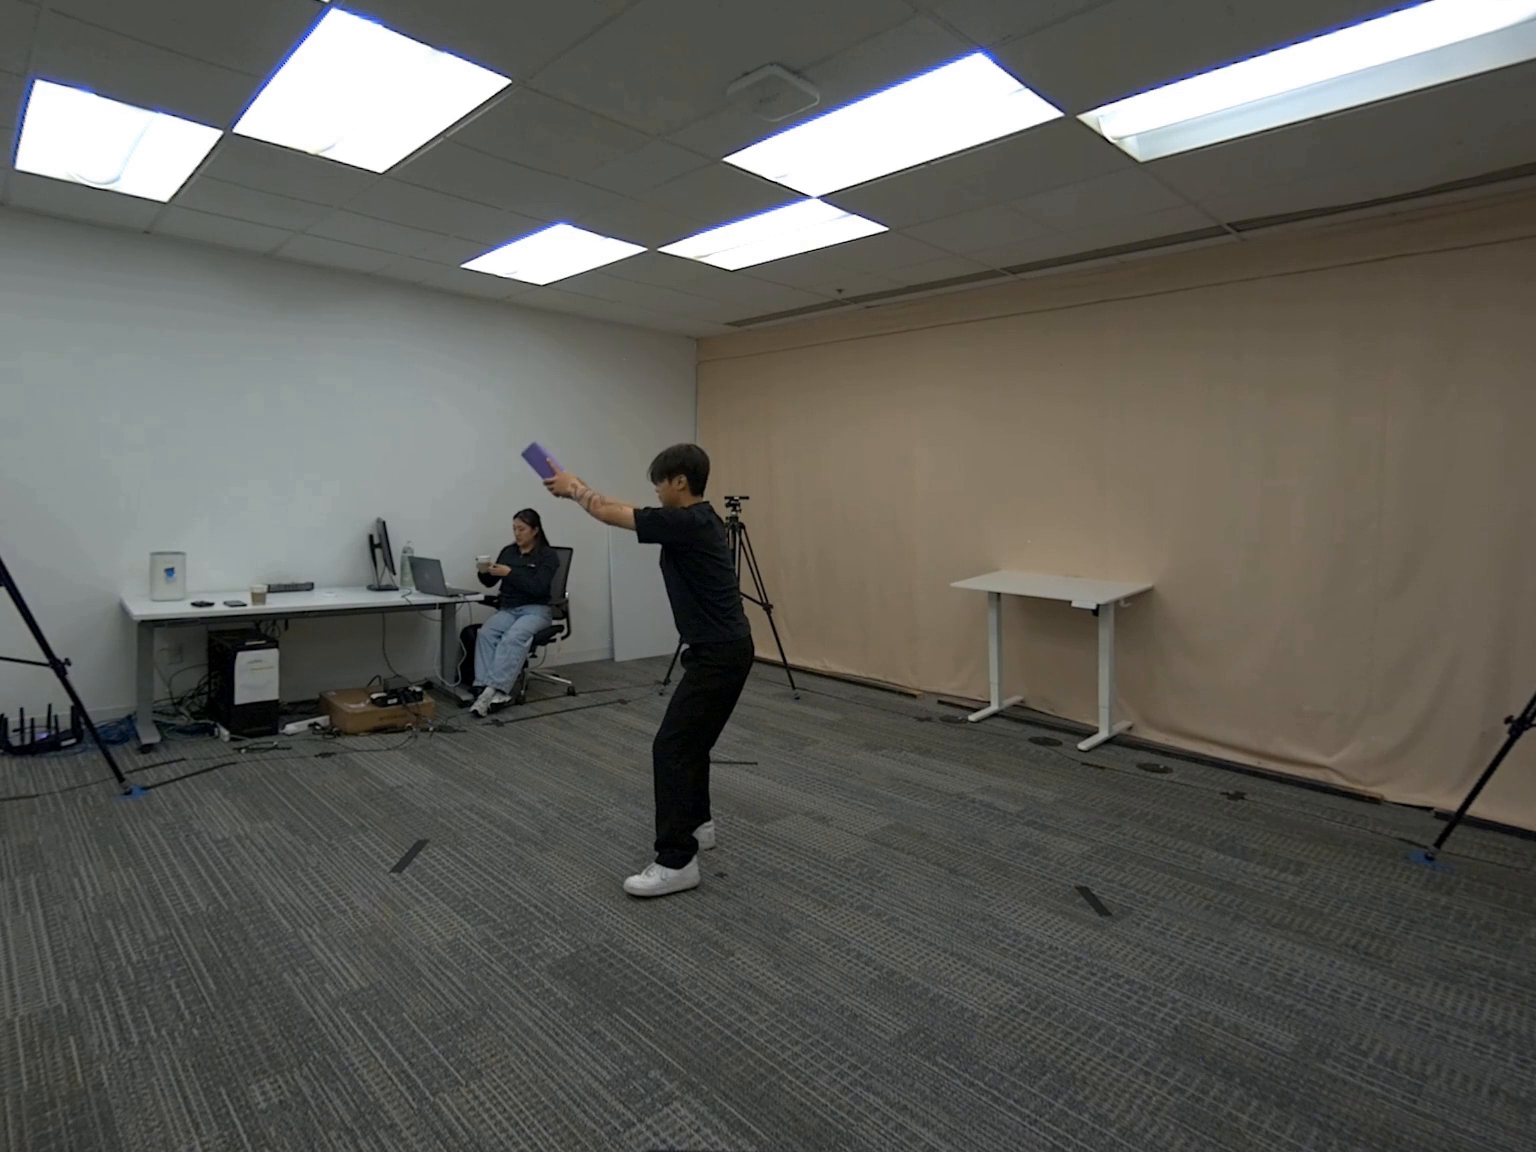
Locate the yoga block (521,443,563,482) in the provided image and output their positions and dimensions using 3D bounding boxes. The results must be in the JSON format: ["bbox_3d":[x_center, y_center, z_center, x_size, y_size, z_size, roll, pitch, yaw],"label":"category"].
[{"bbox_3d":[-0.866,-0.392,3.337,0.076,0.230,0.149,-41,-1,2],"label":"yoga block"}]
